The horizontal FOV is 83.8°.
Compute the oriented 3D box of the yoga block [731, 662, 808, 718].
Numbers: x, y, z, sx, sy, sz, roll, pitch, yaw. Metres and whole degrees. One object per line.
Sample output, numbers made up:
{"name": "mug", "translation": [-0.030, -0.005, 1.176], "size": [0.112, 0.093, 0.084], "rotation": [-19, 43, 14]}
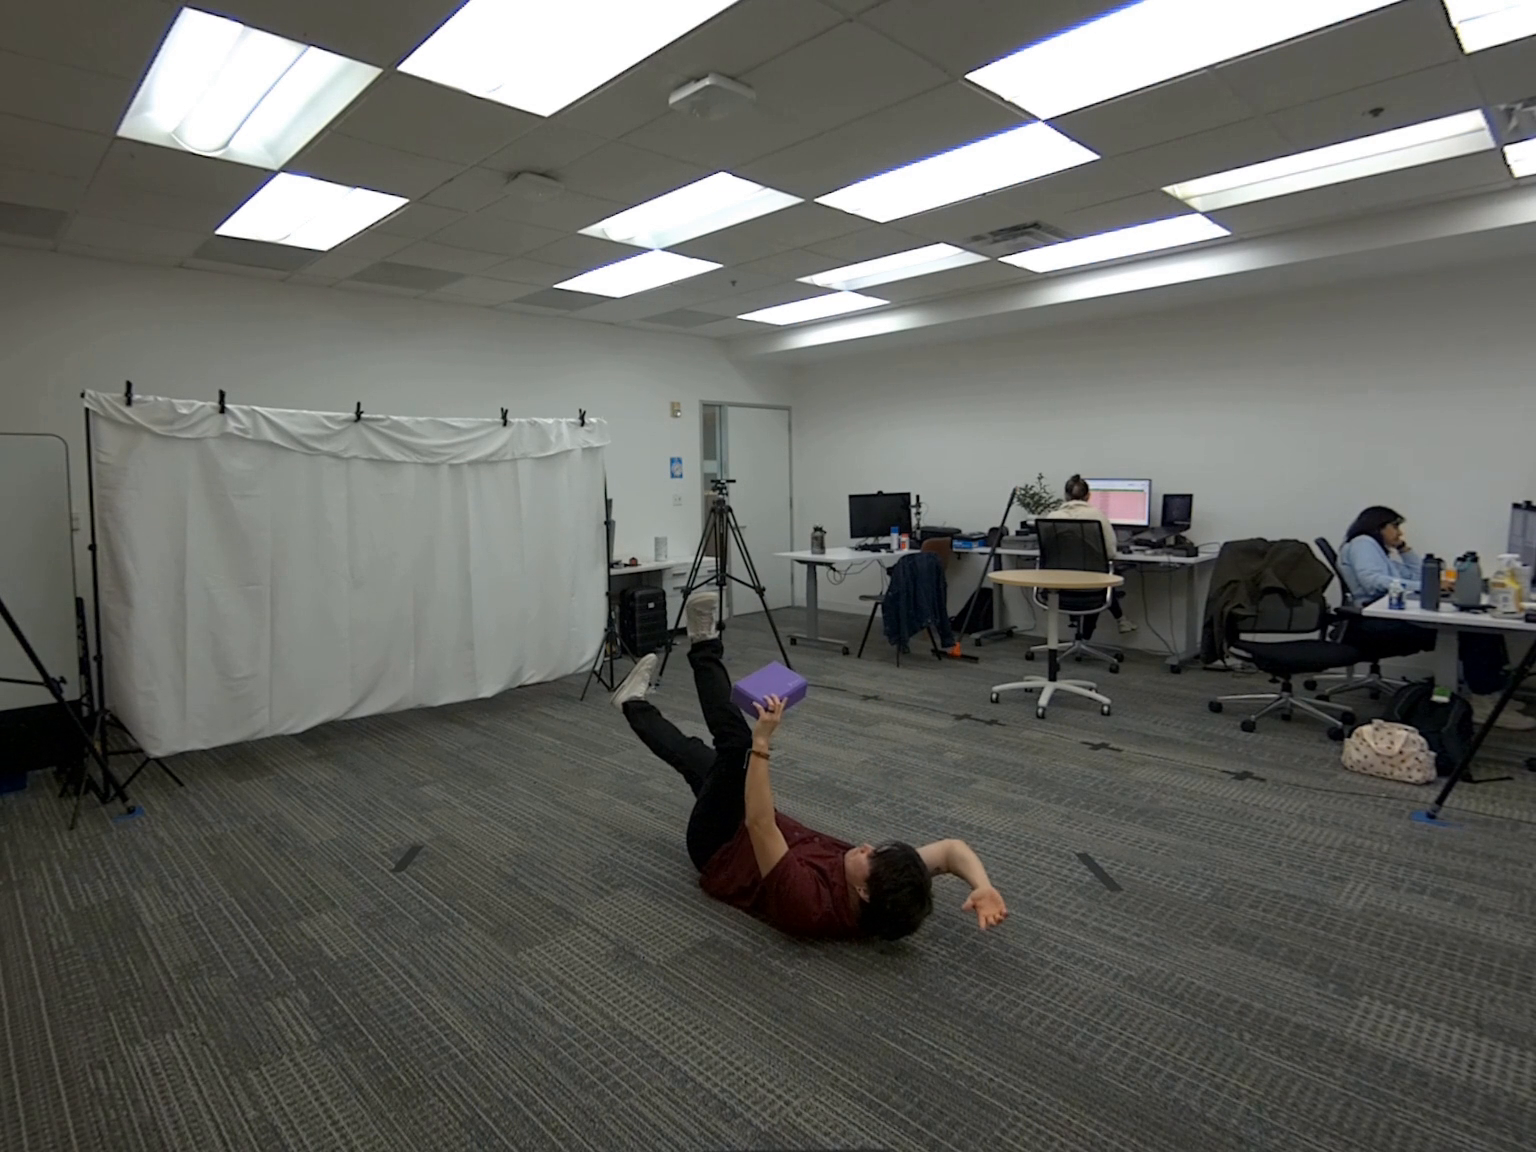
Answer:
{"name": "yoga block", "translation": [0.012, 0.374, 2.794], "size": [0.153, 0.075, 0.226], "rotation": [21, 29, 27]}
